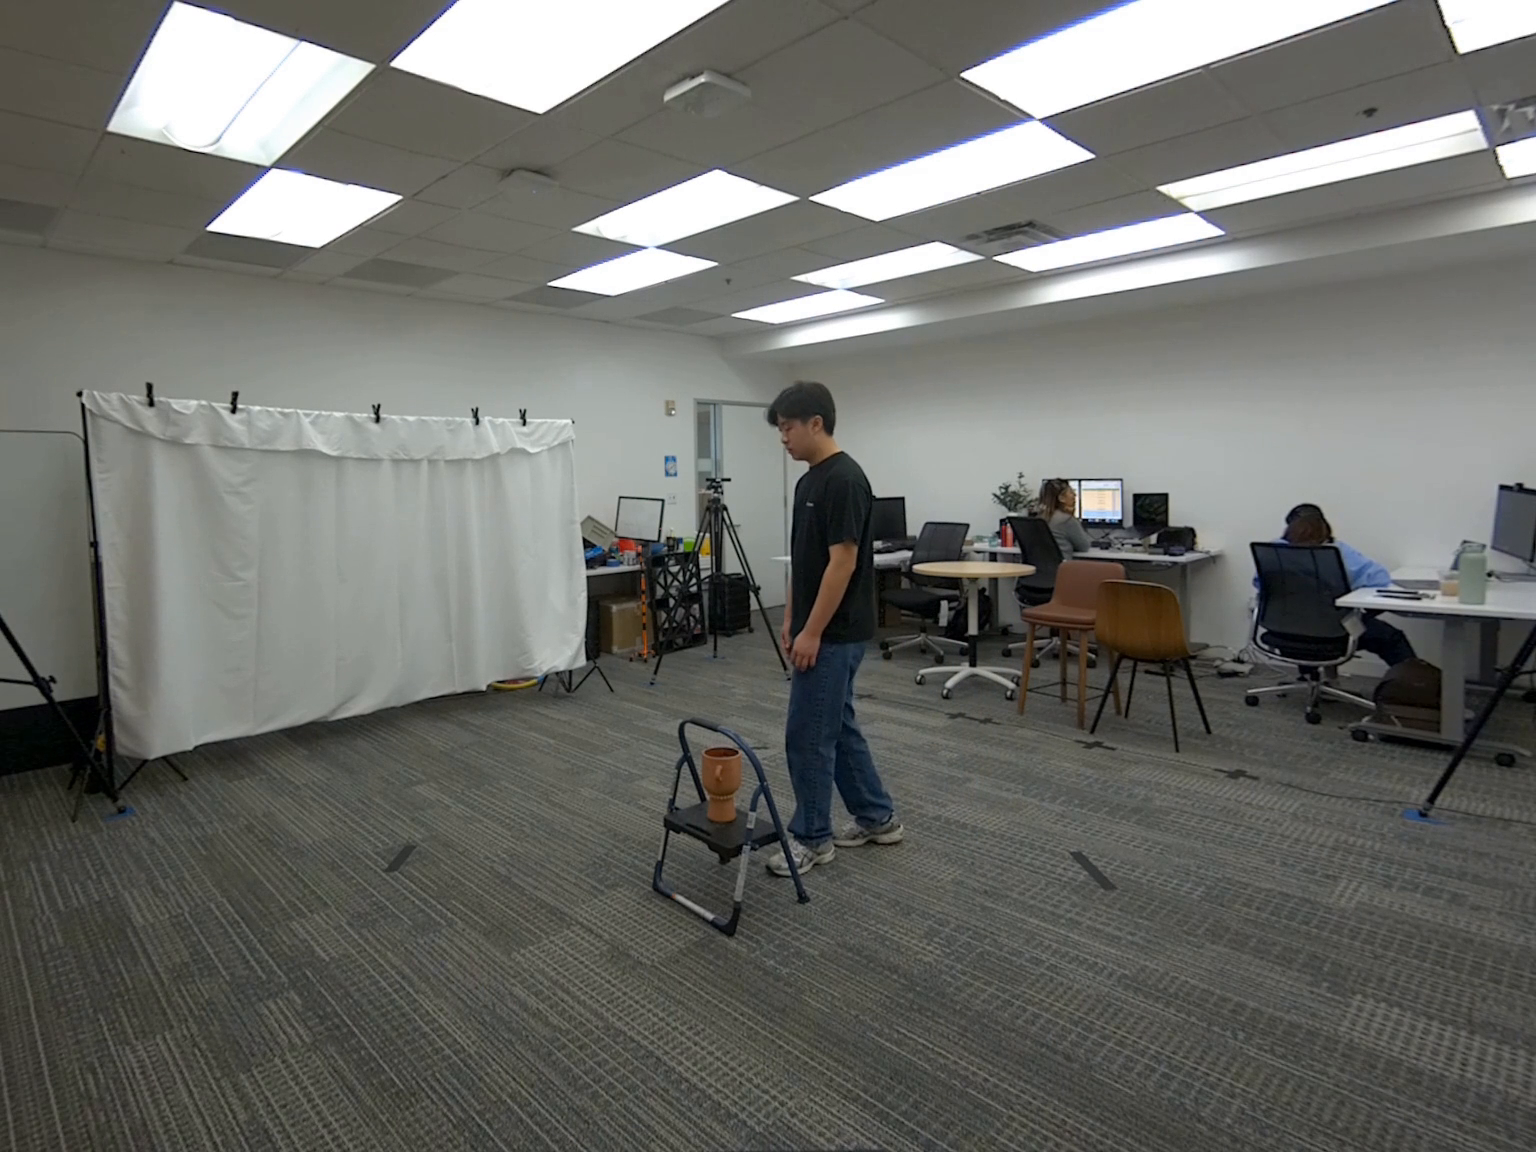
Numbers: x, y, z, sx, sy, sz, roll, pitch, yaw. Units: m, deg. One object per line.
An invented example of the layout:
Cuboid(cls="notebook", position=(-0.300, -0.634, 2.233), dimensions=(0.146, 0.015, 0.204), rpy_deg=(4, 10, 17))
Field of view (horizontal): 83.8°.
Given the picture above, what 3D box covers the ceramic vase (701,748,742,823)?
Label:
Cuboid(cls="ceramic vase", position=(-0.155, 0.700, 2.862), dimensions=(0.154, 0.219, 0.139), rpy_deg=(-3, 5, -44))
